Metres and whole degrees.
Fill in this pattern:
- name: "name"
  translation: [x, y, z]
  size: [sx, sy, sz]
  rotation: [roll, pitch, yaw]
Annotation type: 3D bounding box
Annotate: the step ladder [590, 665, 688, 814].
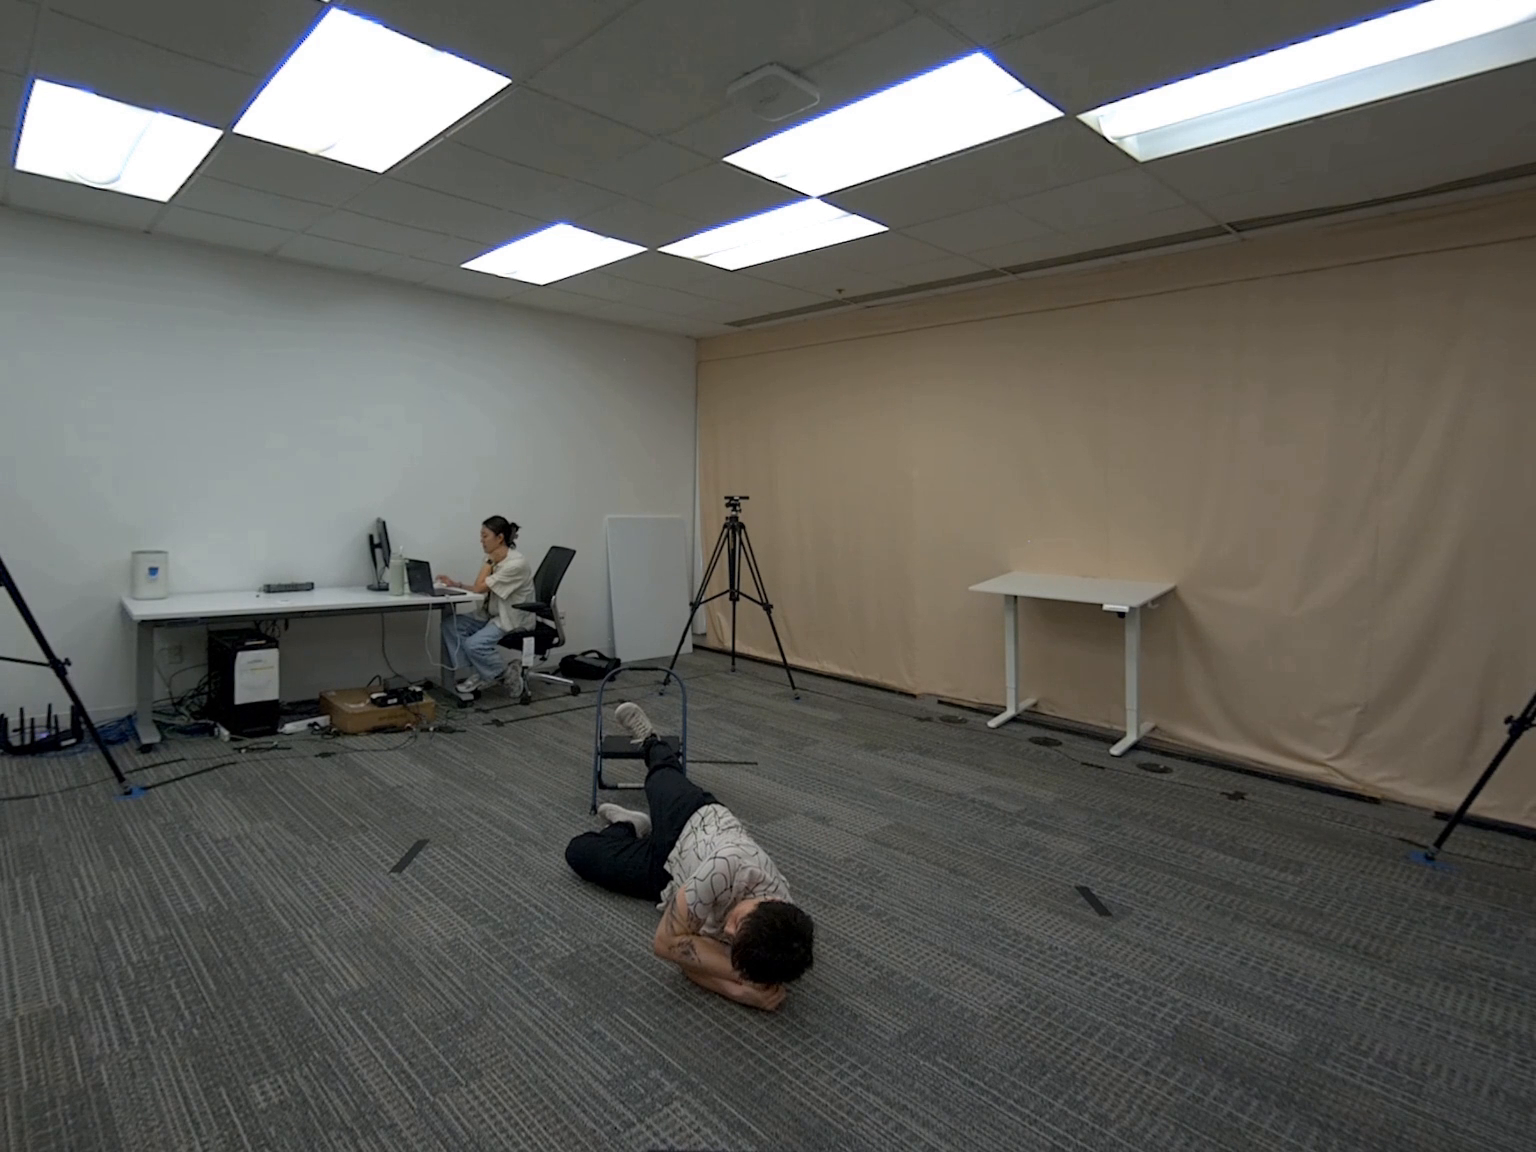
- name: "step ladder"
  translation: [-0.586, 0.732, 3.842]
  size: [0.428, 0.604, 0.352]
  rotation: [2, 4, -6]
